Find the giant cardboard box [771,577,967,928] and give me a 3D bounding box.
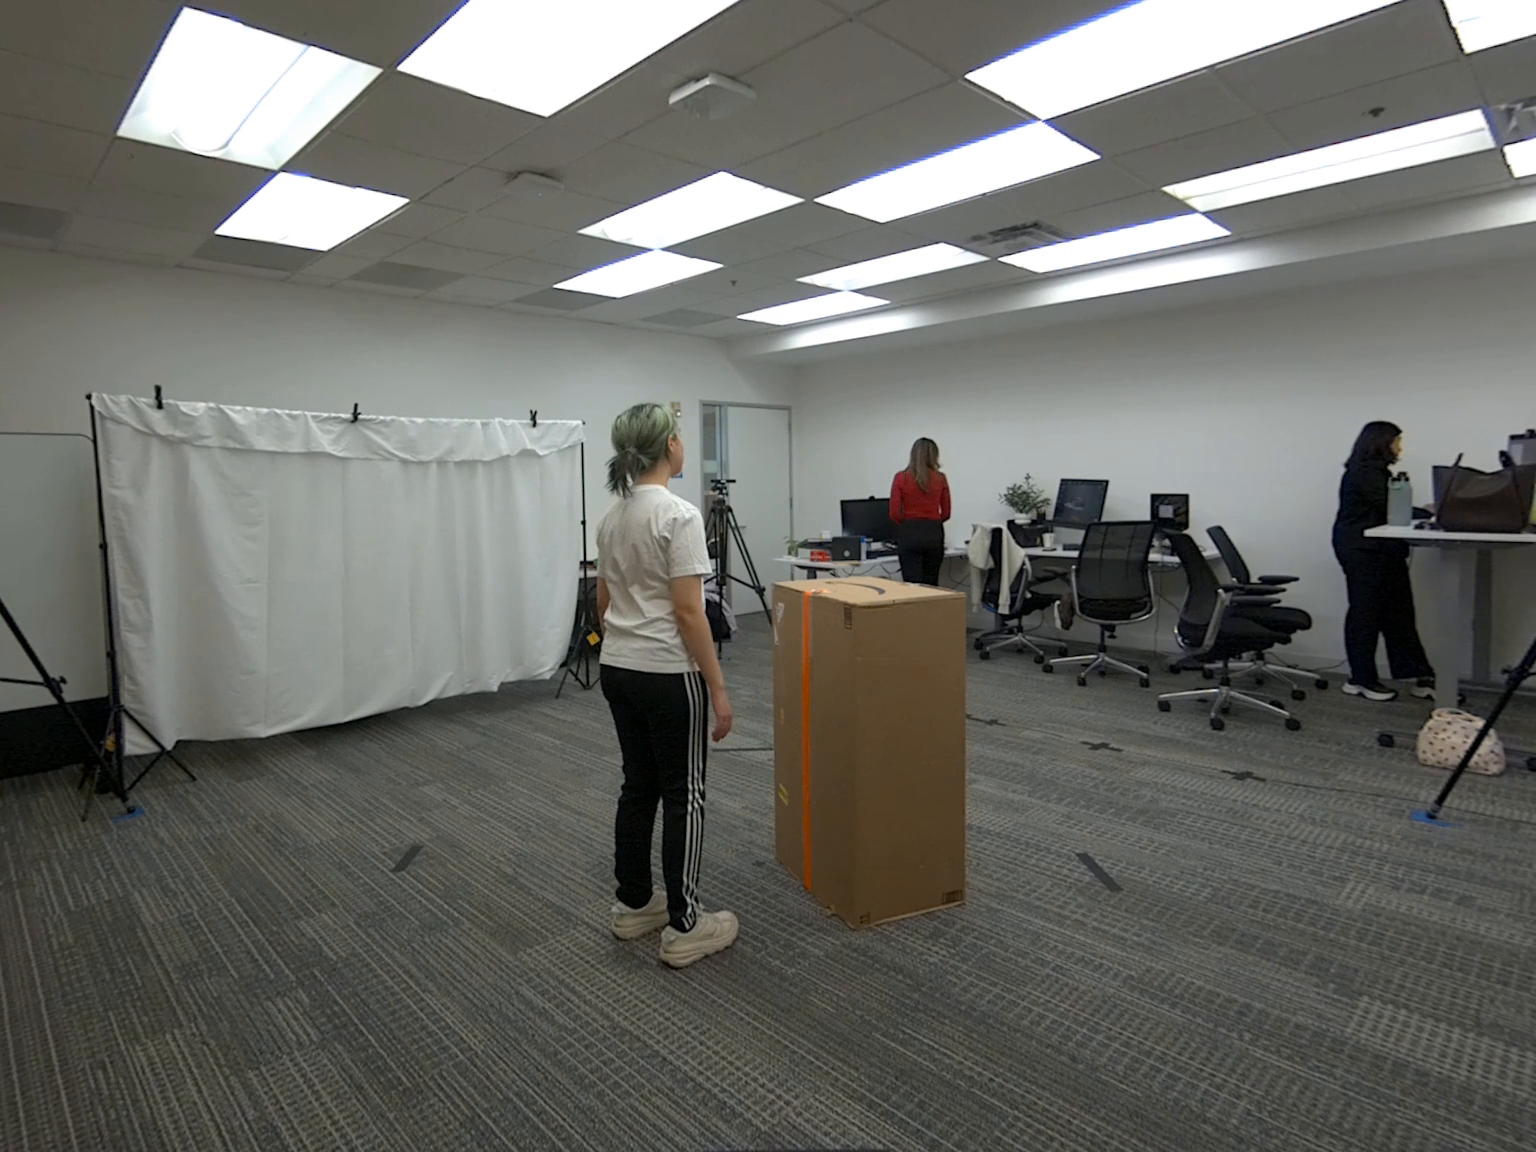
[{"bbox_3d":[0.331,0.549,2.942,0.418,1.022,0.591,-2,5,-24],"label":"giant cardboard box"}]
